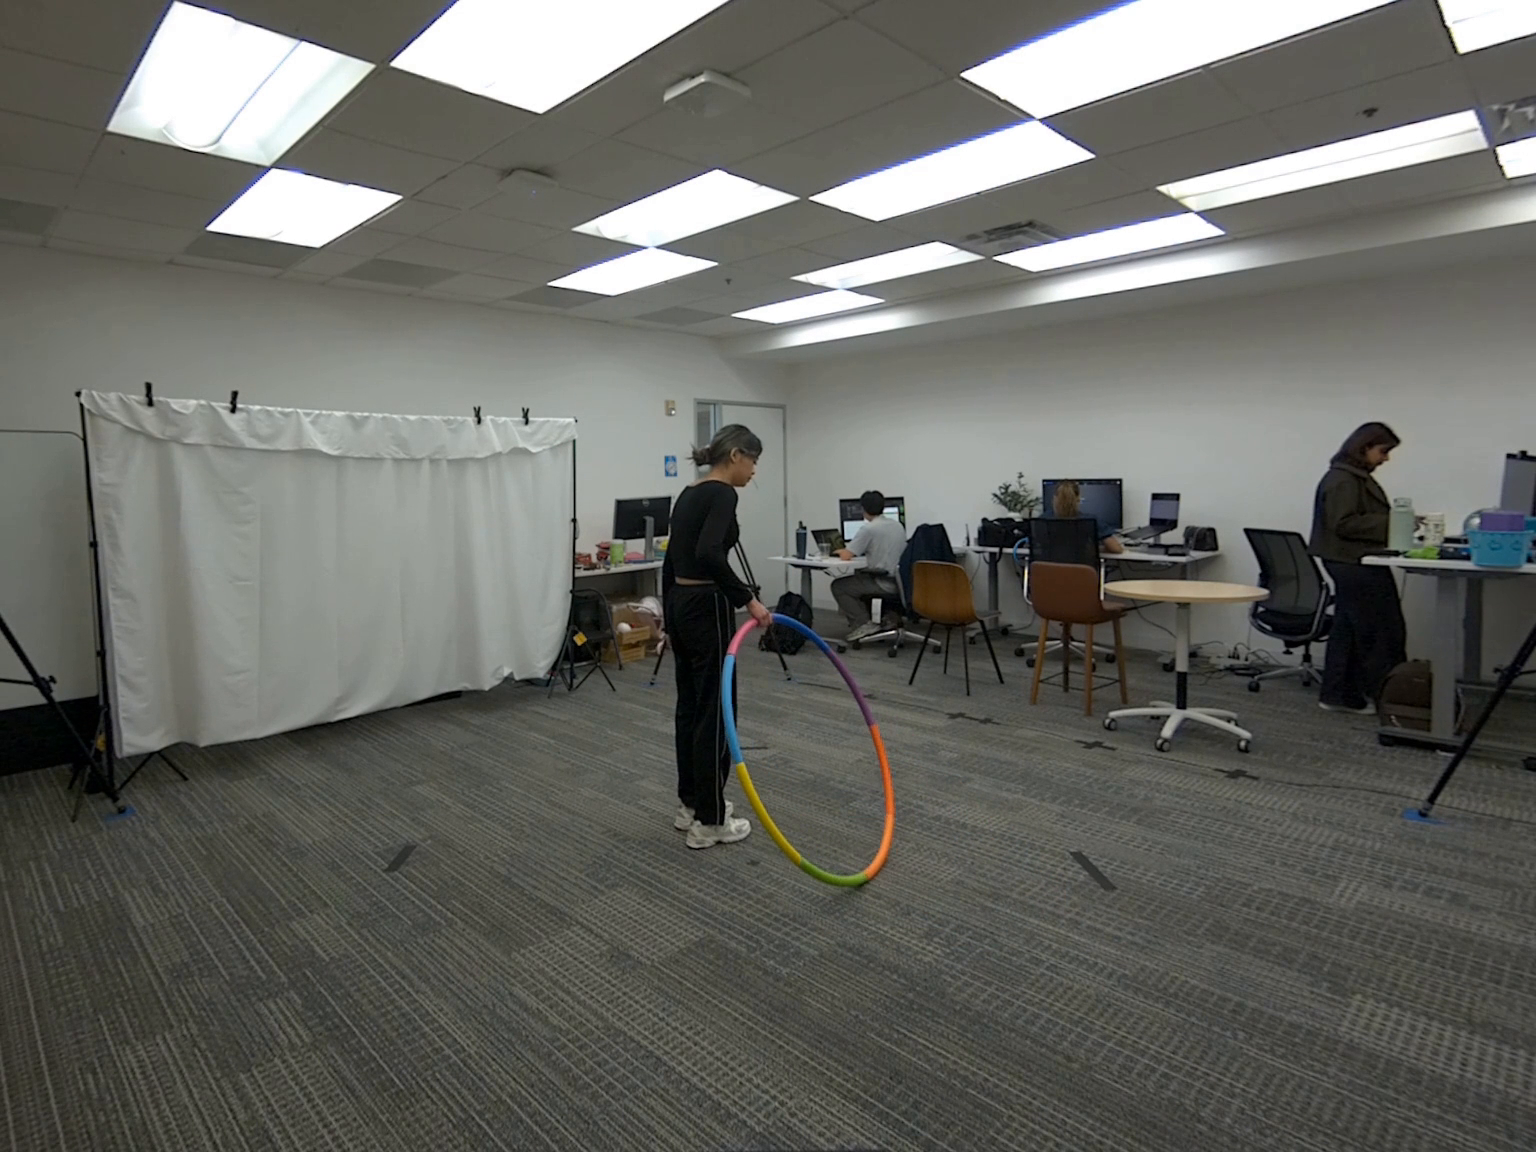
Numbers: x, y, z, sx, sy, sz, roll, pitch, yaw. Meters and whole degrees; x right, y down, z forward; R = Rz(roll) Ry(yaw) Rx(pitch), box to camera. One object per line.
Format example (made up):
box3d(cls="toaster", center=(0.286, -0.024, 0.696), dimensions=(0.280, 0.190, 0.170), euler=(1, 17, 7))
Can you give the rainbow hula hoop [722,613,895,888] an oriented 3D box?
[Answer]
box3d(cls="rainbow hula hoop", center=(0.166, 0.594, 3.071), dimensions=(0.036, 0.992, 0.956), euler=(-31, -12, 29))
